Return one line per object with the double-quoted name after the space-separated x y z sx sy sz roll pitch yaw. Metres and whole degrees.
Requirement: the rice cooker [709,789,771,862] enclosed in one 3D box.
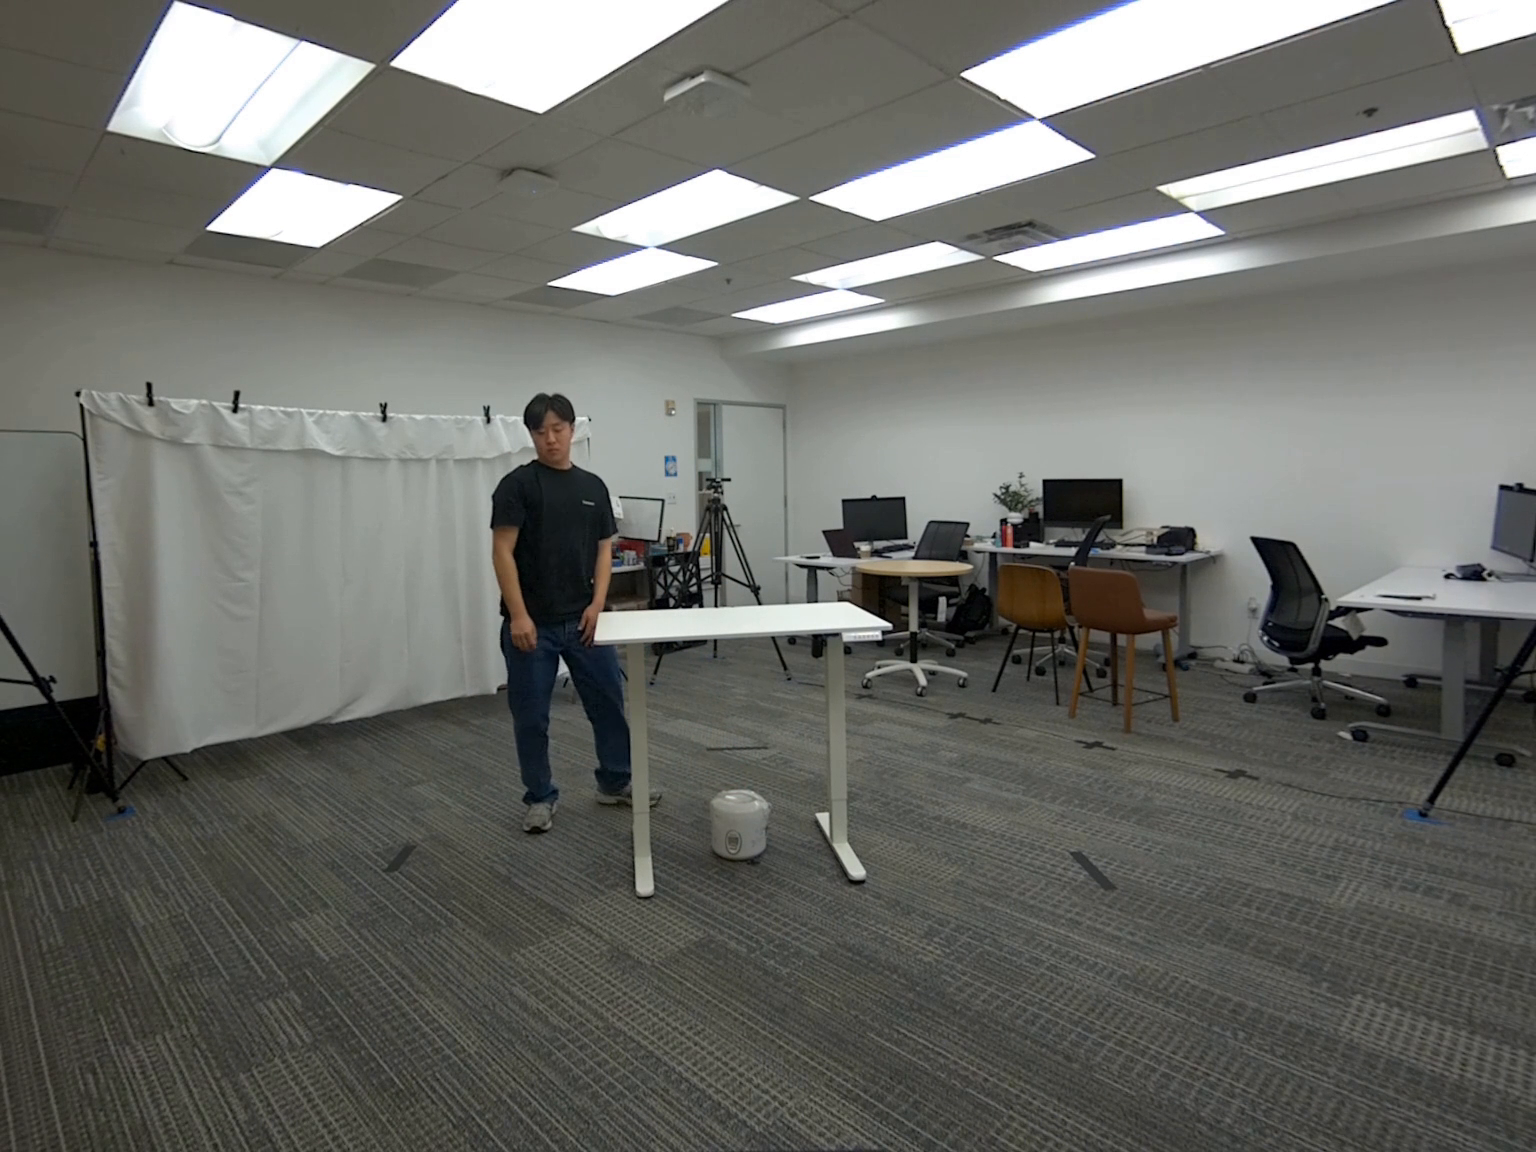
-0.102 0.915 3.197 0.223 0.232 0.215 0 3 11 "rice cooker"
